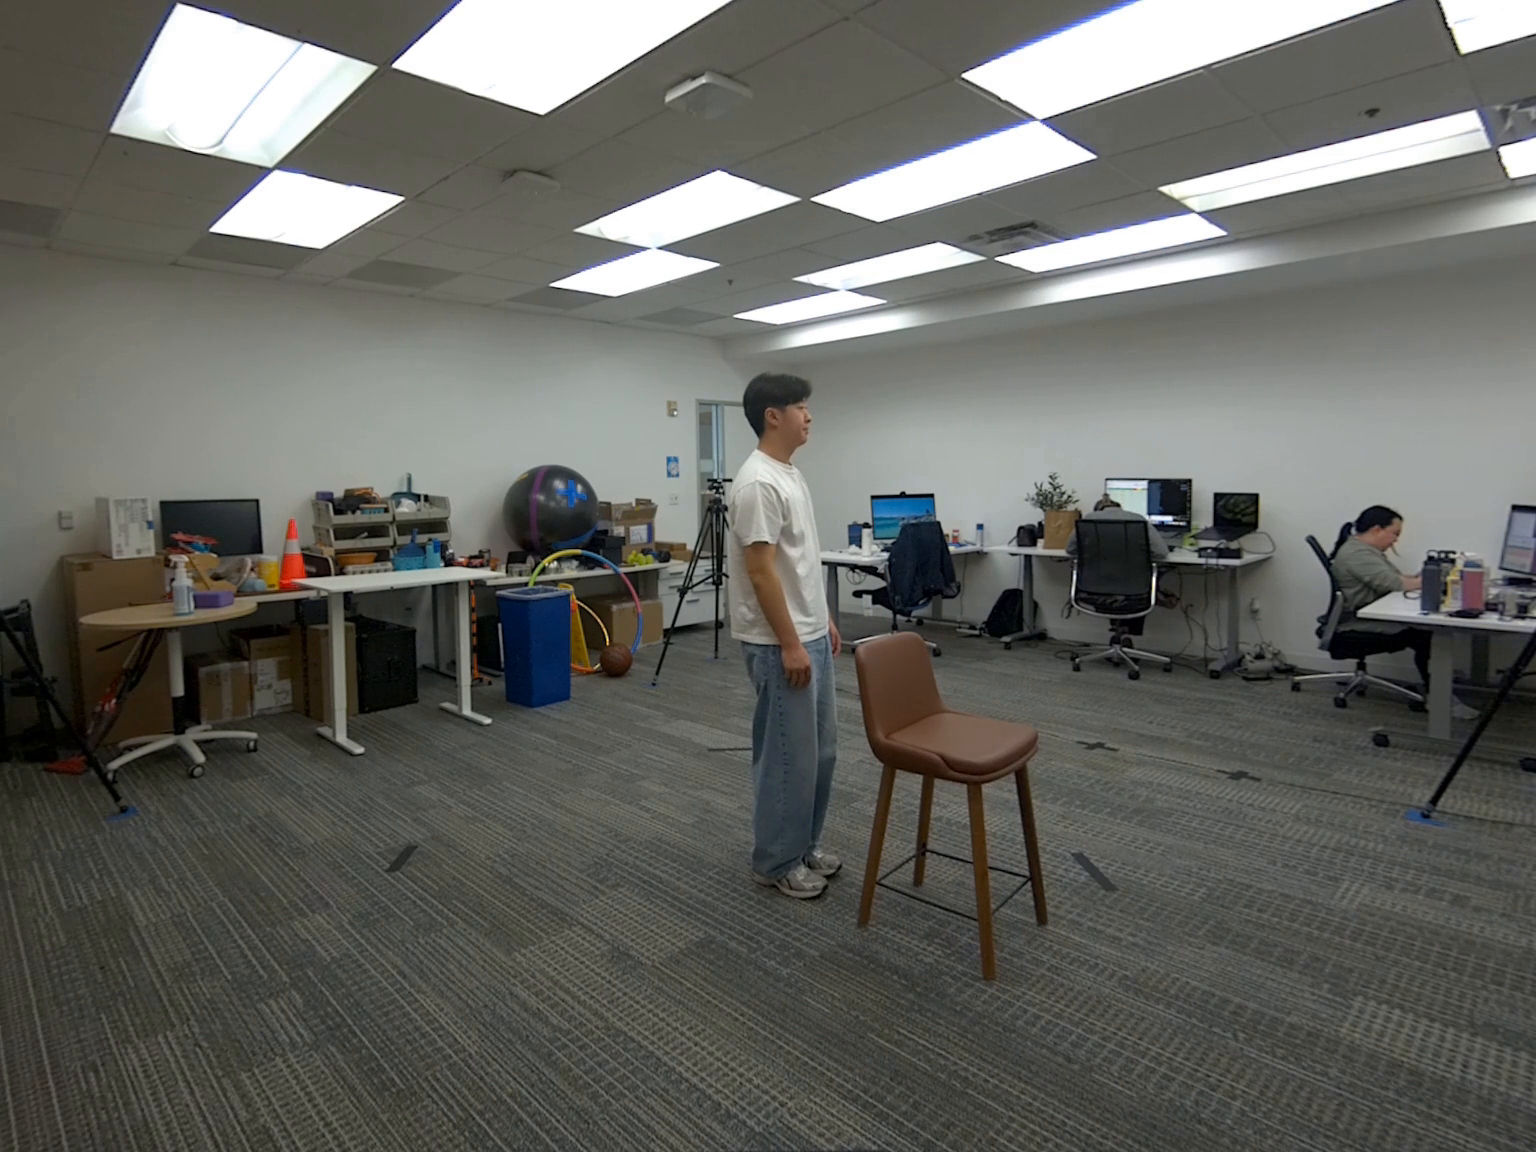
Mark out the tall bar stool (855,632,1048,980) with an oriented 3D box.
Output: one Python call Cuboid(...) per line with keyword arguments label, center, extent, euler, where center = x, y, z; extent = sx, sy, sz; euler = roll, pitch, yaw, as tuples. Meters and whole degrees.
Cuboid(label="tall bar stool", center=(0.558, 0.650, 2.636), extent=(0.481, 0.888, 0.444), euler=(0, 3, 42))
